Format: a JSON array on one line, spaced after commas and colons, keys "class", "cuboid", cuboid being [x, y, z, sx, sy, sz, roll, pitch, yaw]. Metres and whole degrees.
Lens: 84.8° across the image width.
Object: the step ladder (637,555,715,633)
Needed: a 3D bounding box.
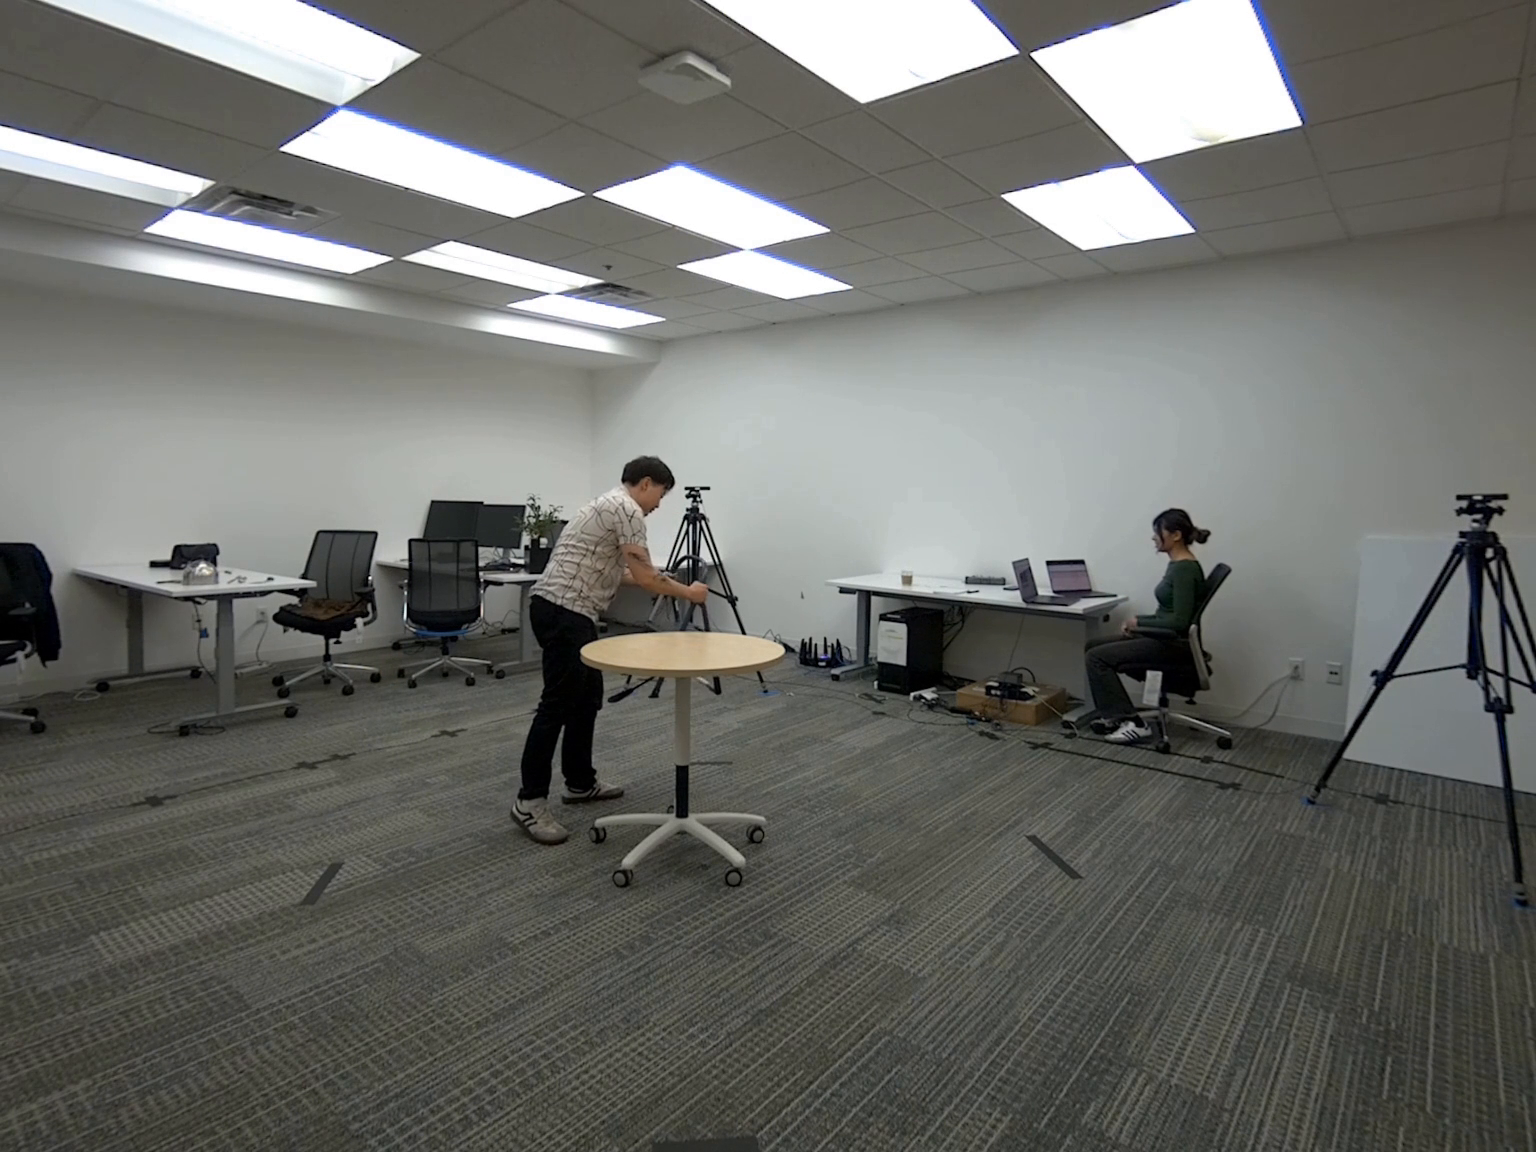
[{"class": "step ladder", "cuboid": [-0.443, 0.213, 3.947, 0.340, 0.603, 0.444, 2, 6, -27]}]
